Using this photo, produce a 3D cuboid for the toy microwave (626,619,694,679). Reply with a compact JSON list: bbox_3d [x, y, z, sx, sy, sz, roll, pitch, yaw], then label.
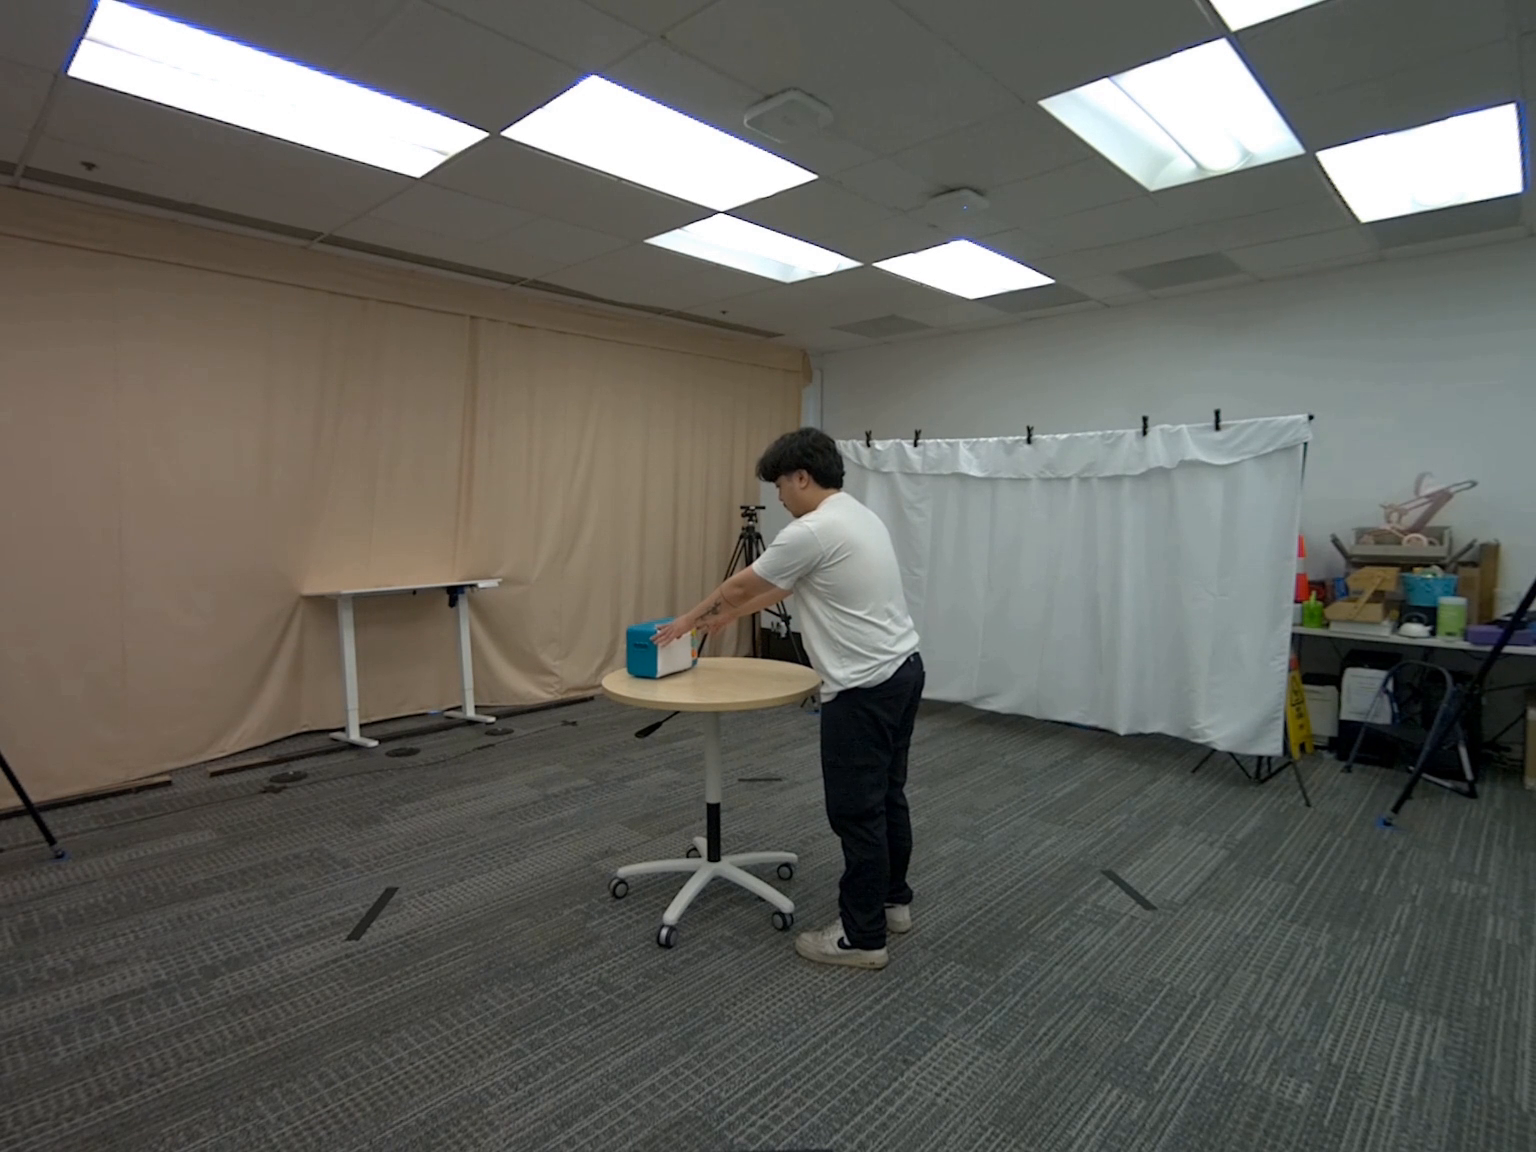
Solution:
[{"bbox_3d":[-0.372,0.259,3.043,0.157,0.184,0.279,1,5,29],"label":"toy microwave"}]
